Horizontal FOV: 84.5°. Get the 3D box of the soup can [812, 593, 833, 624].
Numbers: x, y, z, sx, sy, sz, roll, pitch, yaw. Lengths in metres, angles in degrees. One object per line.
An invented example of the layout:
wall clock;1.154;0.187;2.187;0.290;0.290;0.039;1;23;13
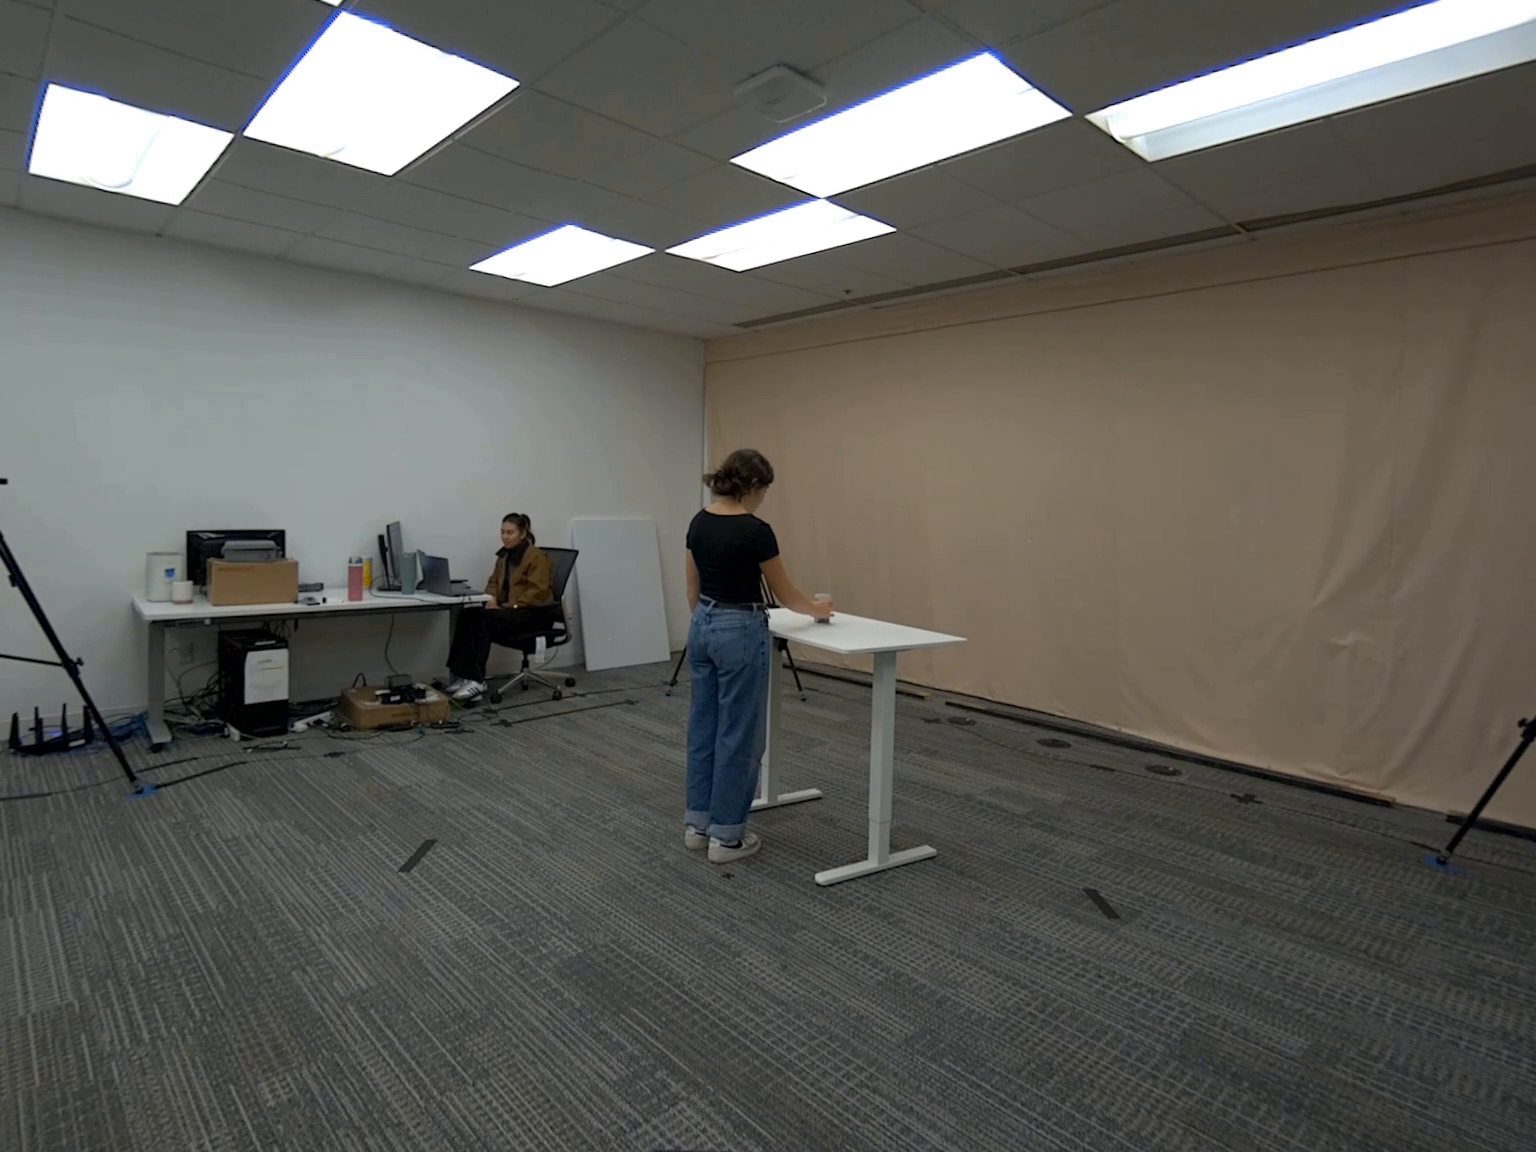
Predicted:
soup can;0.225;0.141;3.537;0.067;0.121;0.067;0;1;-1
